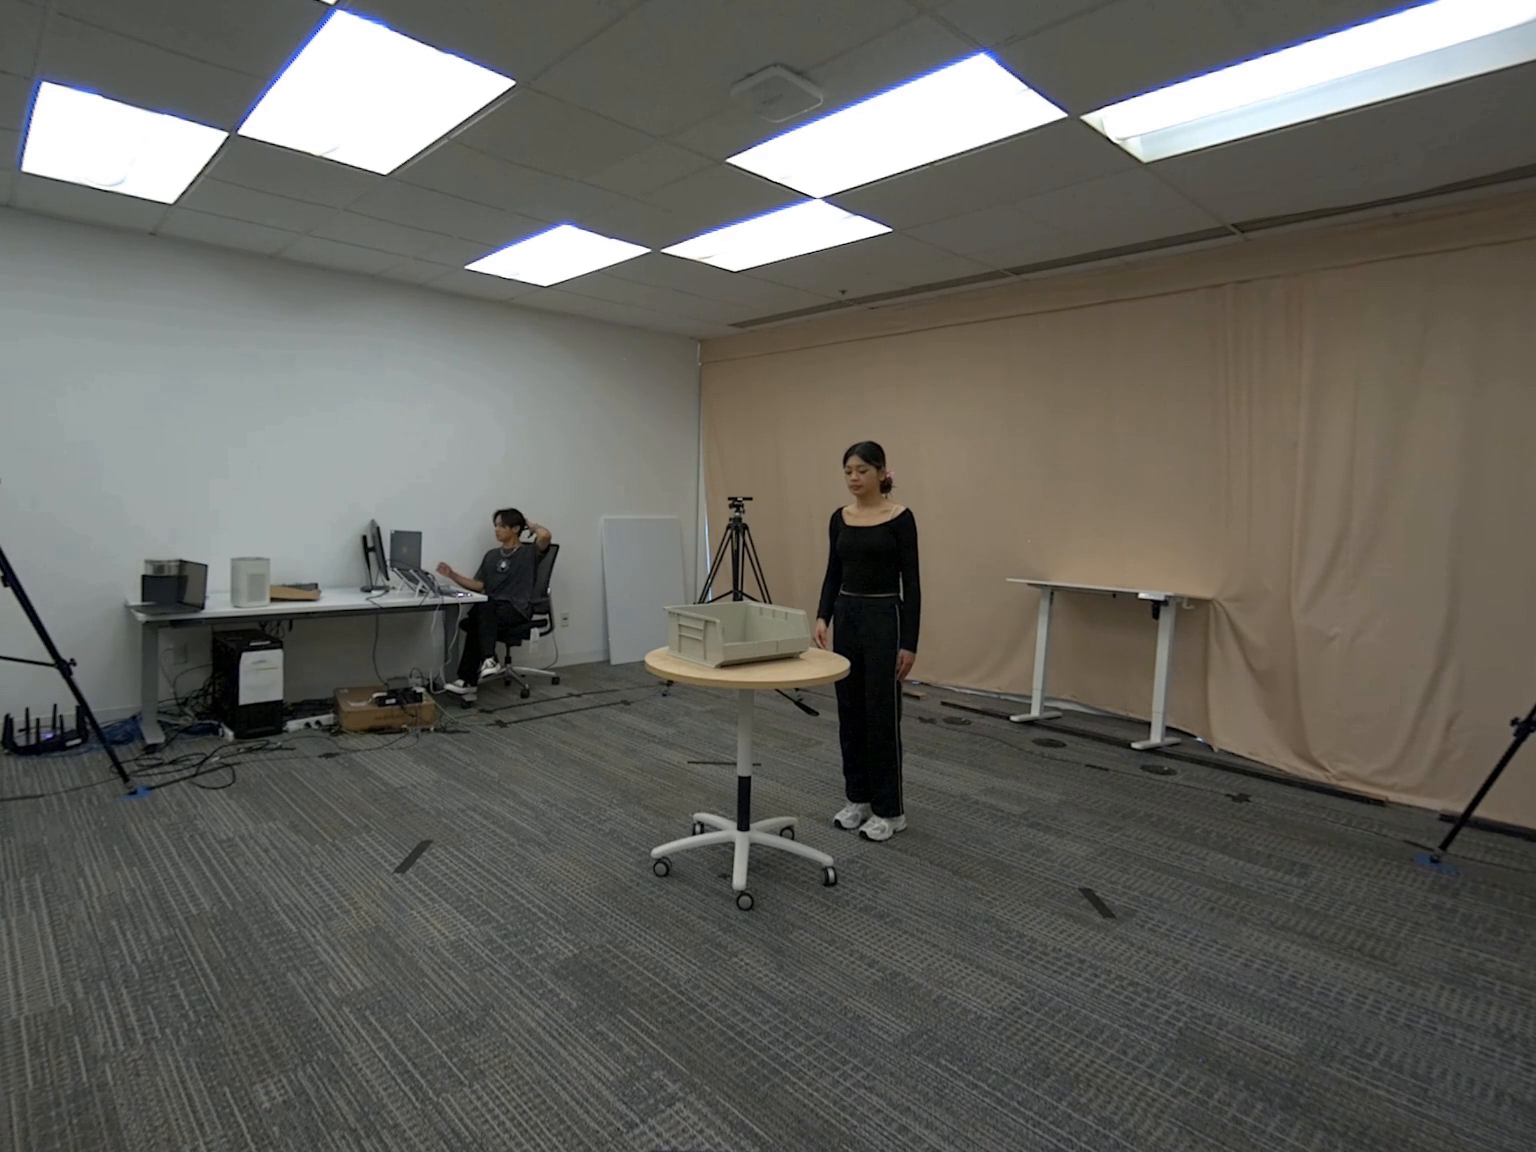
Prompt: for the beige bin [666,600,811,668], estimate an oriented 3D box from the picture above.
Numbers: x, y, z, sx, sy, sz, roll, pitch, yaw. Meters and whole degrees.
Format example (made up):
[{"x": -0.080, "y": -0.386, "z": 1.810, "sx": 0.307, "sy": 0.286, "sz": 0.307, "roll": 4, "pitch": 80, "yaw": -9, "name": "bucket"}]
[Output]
[{"x": -0.121, "y": 0.219, "z": 3.187, "sx": 0.413, "sy": 0.188, "sz": 0.387, "roll": -3, "pitch": 6, "yaw": -38, "name": "beige bin"}]
